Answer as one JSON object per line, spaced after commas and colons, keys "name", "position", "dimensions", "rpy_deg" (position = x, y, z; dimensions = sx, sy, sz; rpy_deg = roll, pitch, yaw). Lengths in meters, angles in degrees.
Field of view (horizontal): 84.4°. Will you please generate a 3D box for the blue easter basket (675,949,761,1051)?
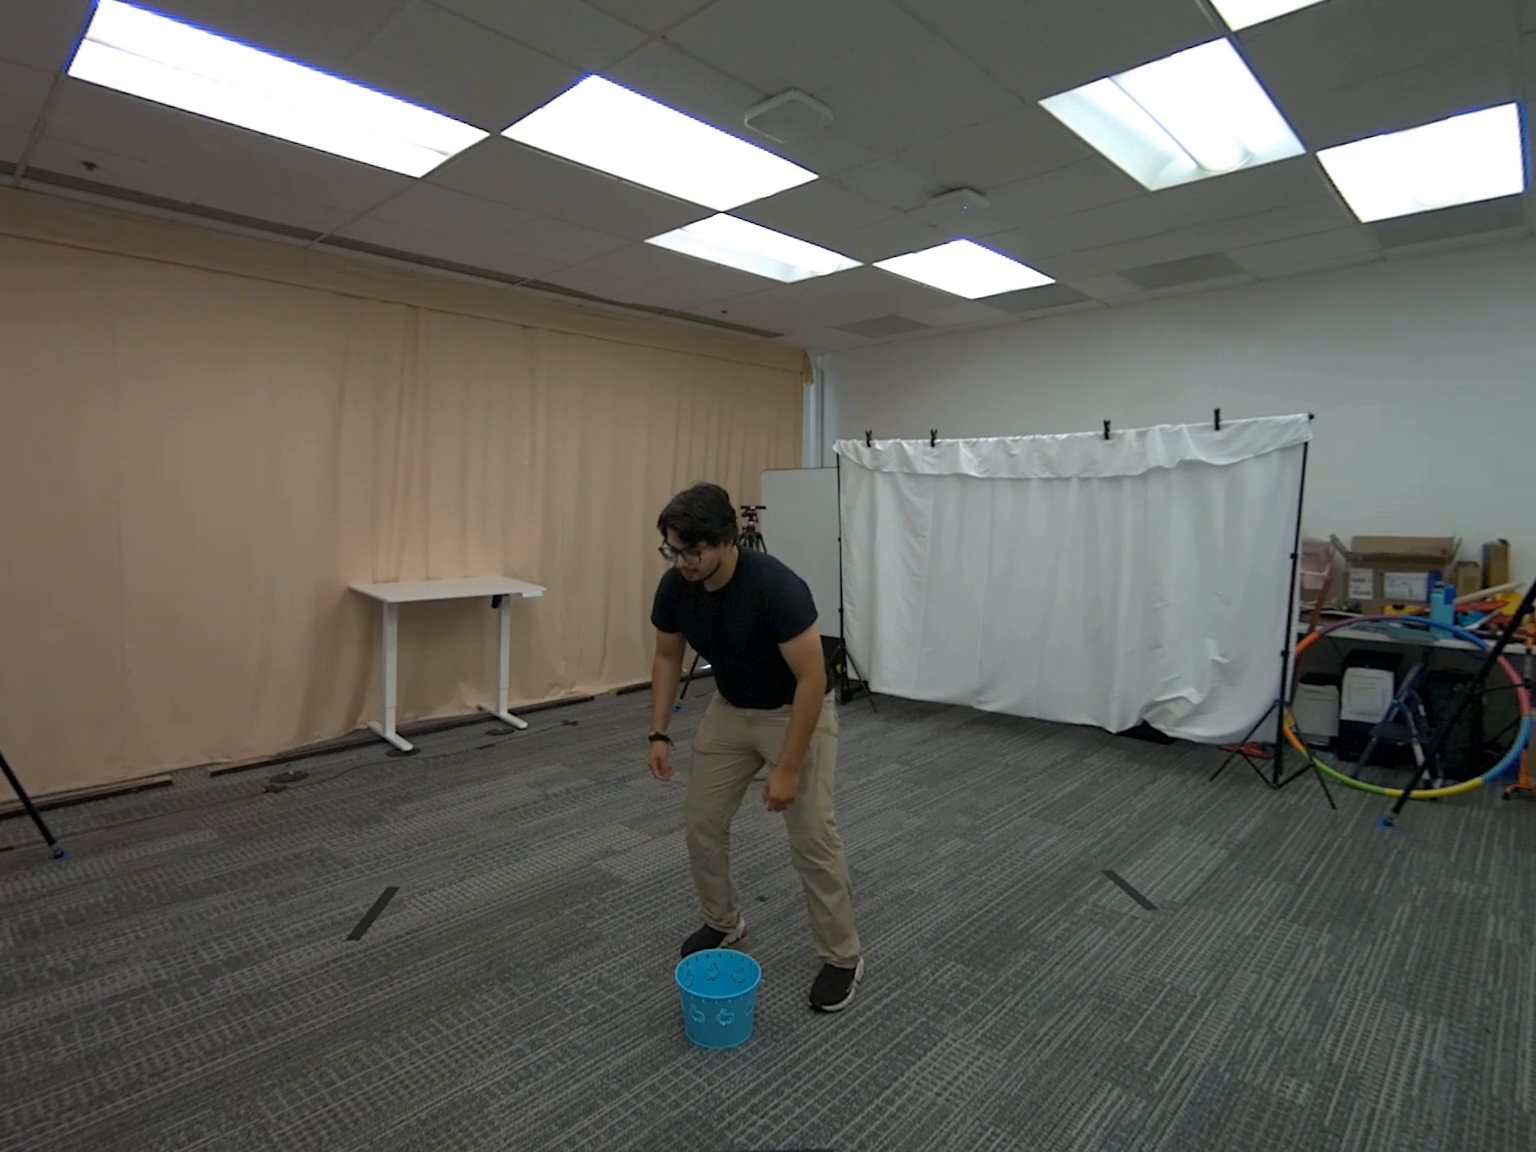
{"name": "blue easter basket", "position": [-0.127, 1.127, 2.247], "dimensions": [0.243, 0.155, 0.244], "rpy_deg": [-1, 5, -2]}
